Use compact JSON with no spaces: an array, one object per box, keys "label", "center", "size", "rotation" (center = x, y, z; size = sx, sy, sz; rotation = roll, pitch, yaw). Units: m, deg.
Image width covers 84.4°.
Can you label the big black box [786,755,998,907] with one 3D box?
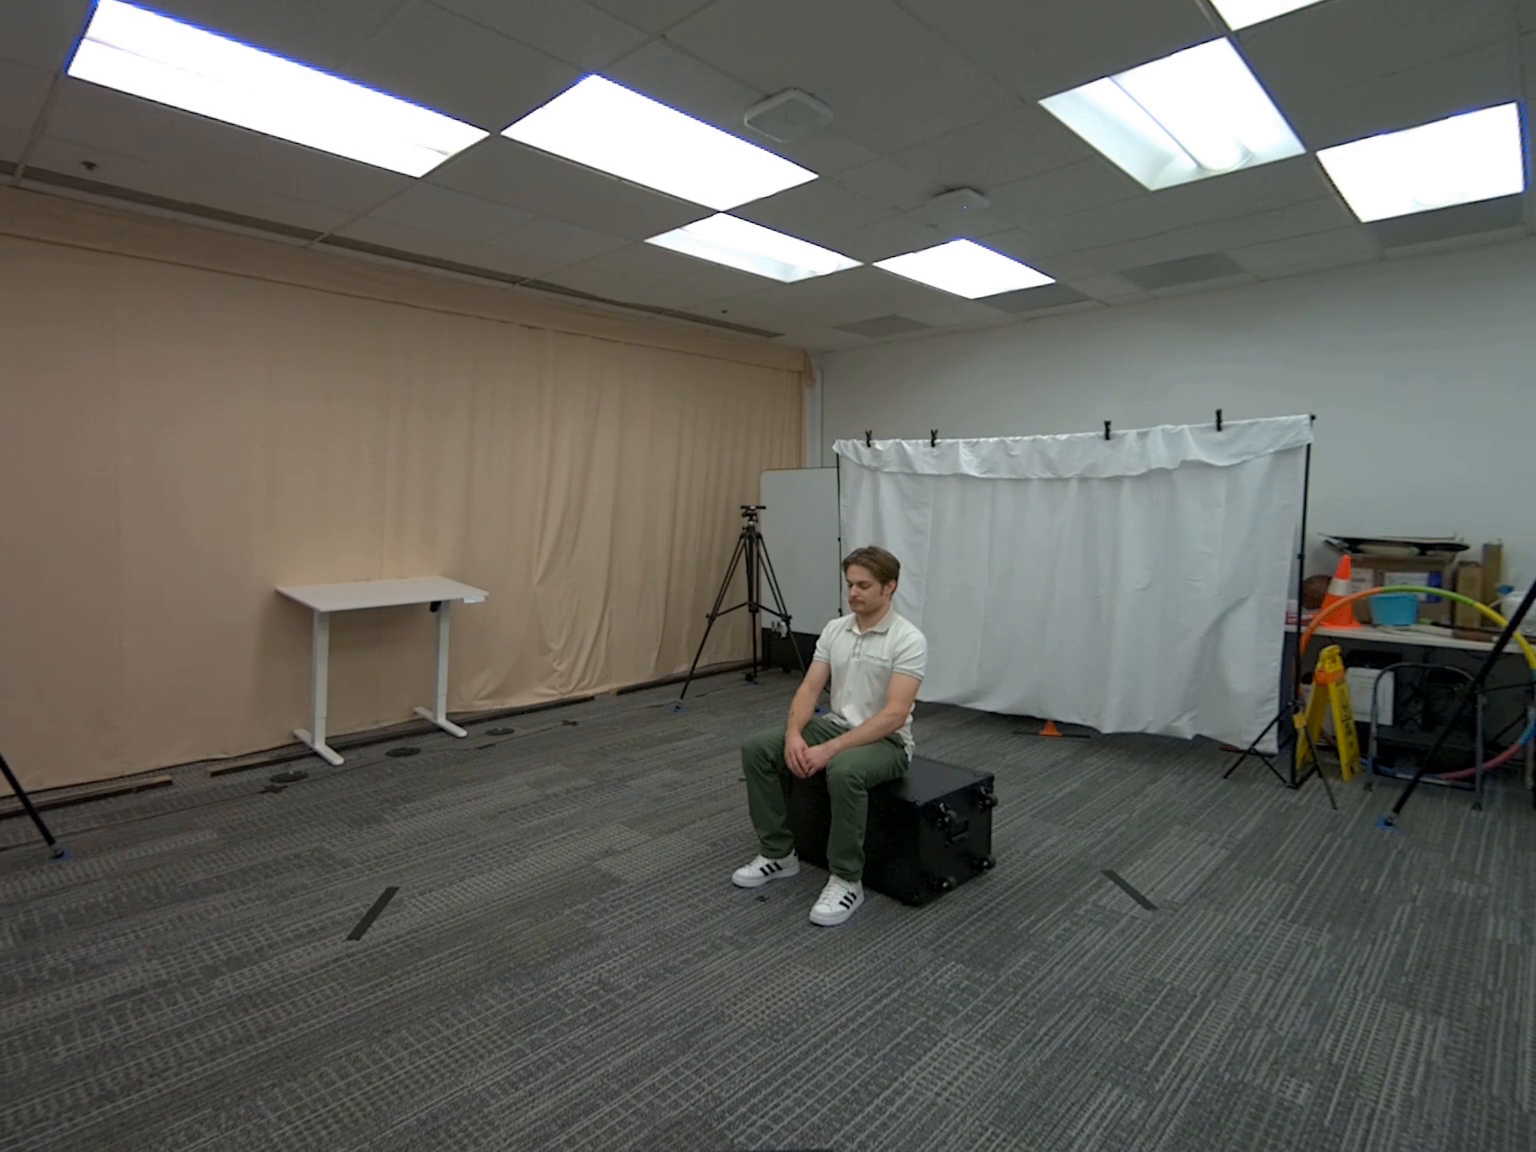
[{"label":"big black box","center":[0.432,0.924,3.291],"size":[0.507,0.384,0.897],"rotation":[-2,5,-44]}]
